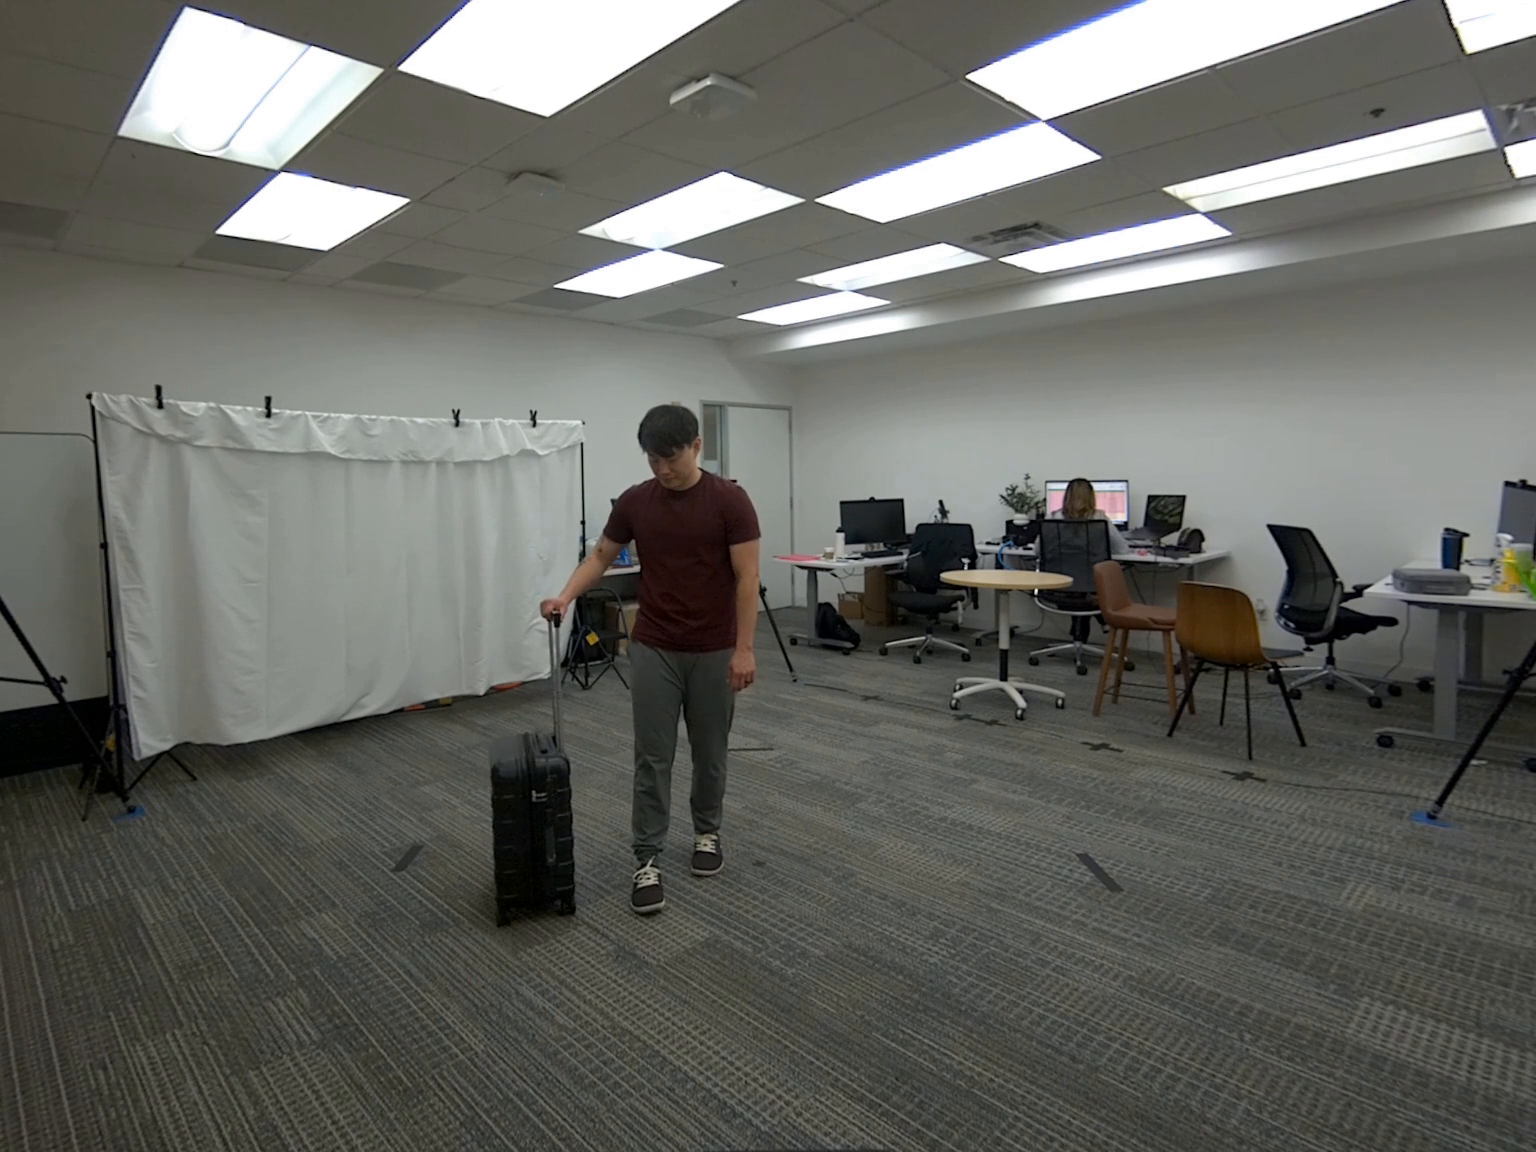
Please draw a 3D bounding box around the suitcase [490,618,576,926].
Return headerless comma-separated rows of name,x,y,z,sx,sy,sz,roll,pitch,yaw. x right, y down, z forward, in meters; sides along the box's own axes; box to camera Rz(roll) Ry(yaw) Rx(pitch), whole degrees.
suitcase,-0.795,0.615,2.834,0.254,0.974,0.391,-3,5,-15
